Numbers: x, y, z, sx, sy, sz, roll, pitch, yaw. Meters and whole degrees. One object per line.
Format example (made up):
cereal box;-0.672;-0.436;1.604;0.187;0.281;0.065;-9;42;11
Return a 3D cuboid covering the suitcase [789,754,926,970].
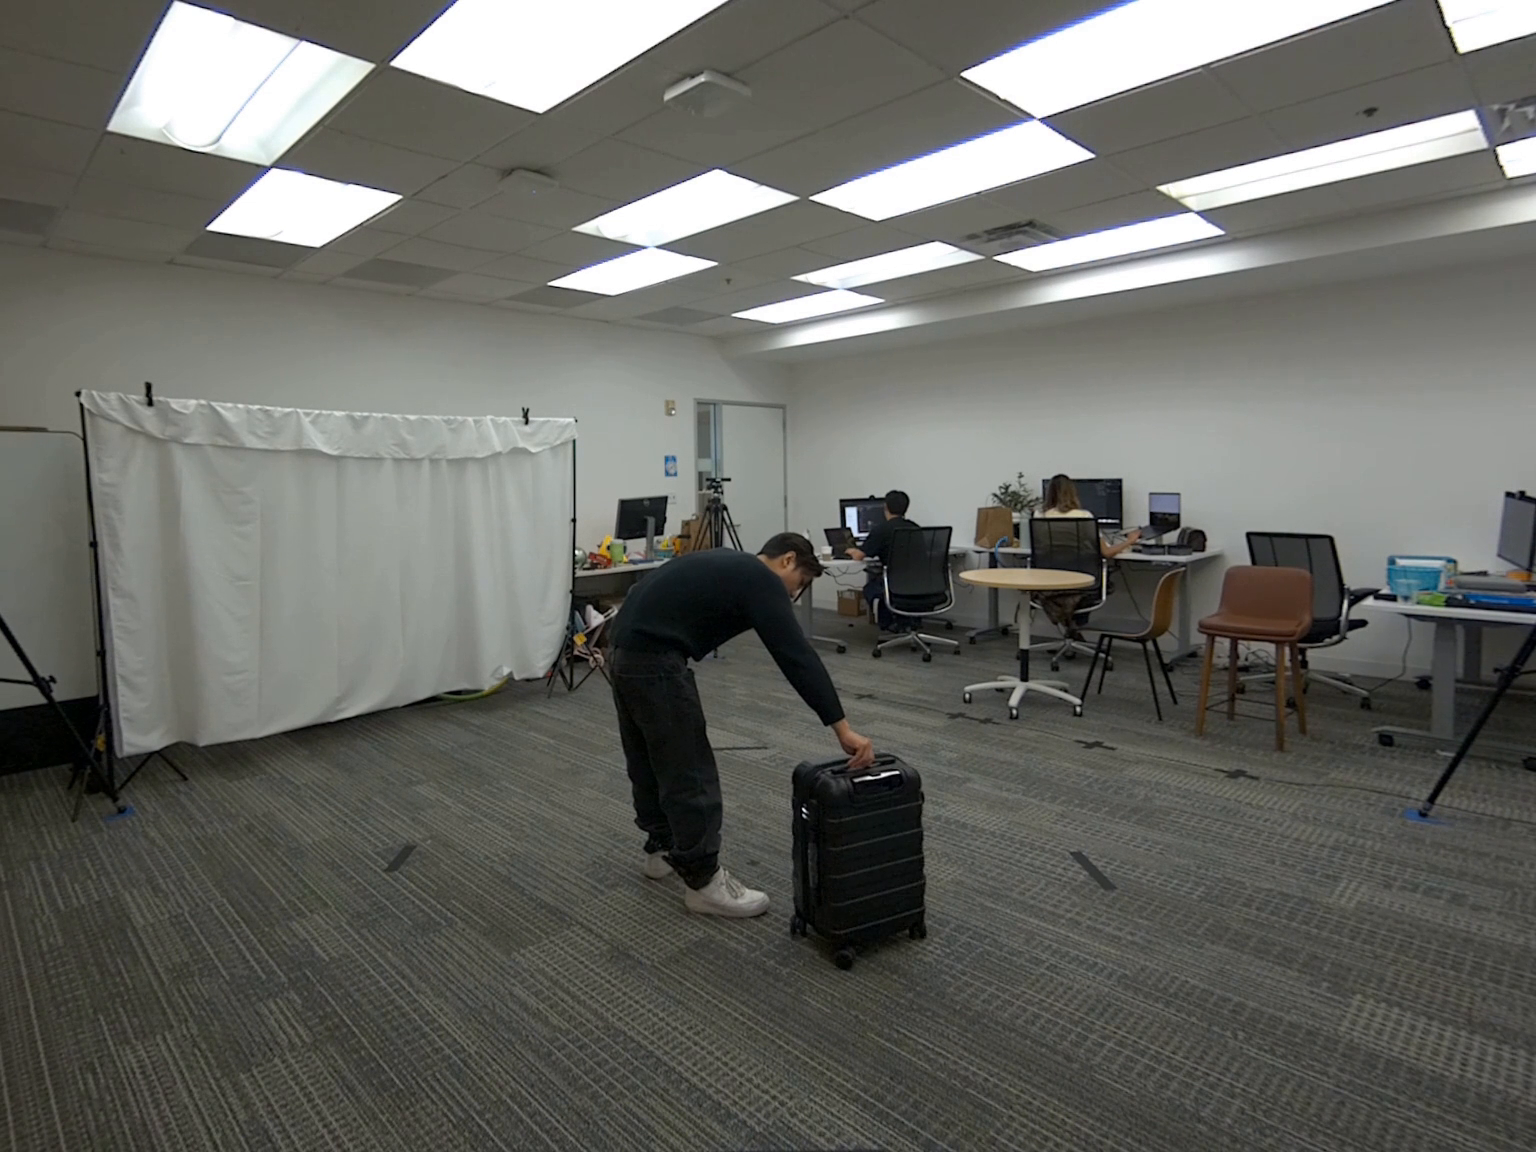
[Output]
suitcase;0.275;0.820;2.581;0.367;0.547;0.255;-4;4;-27
